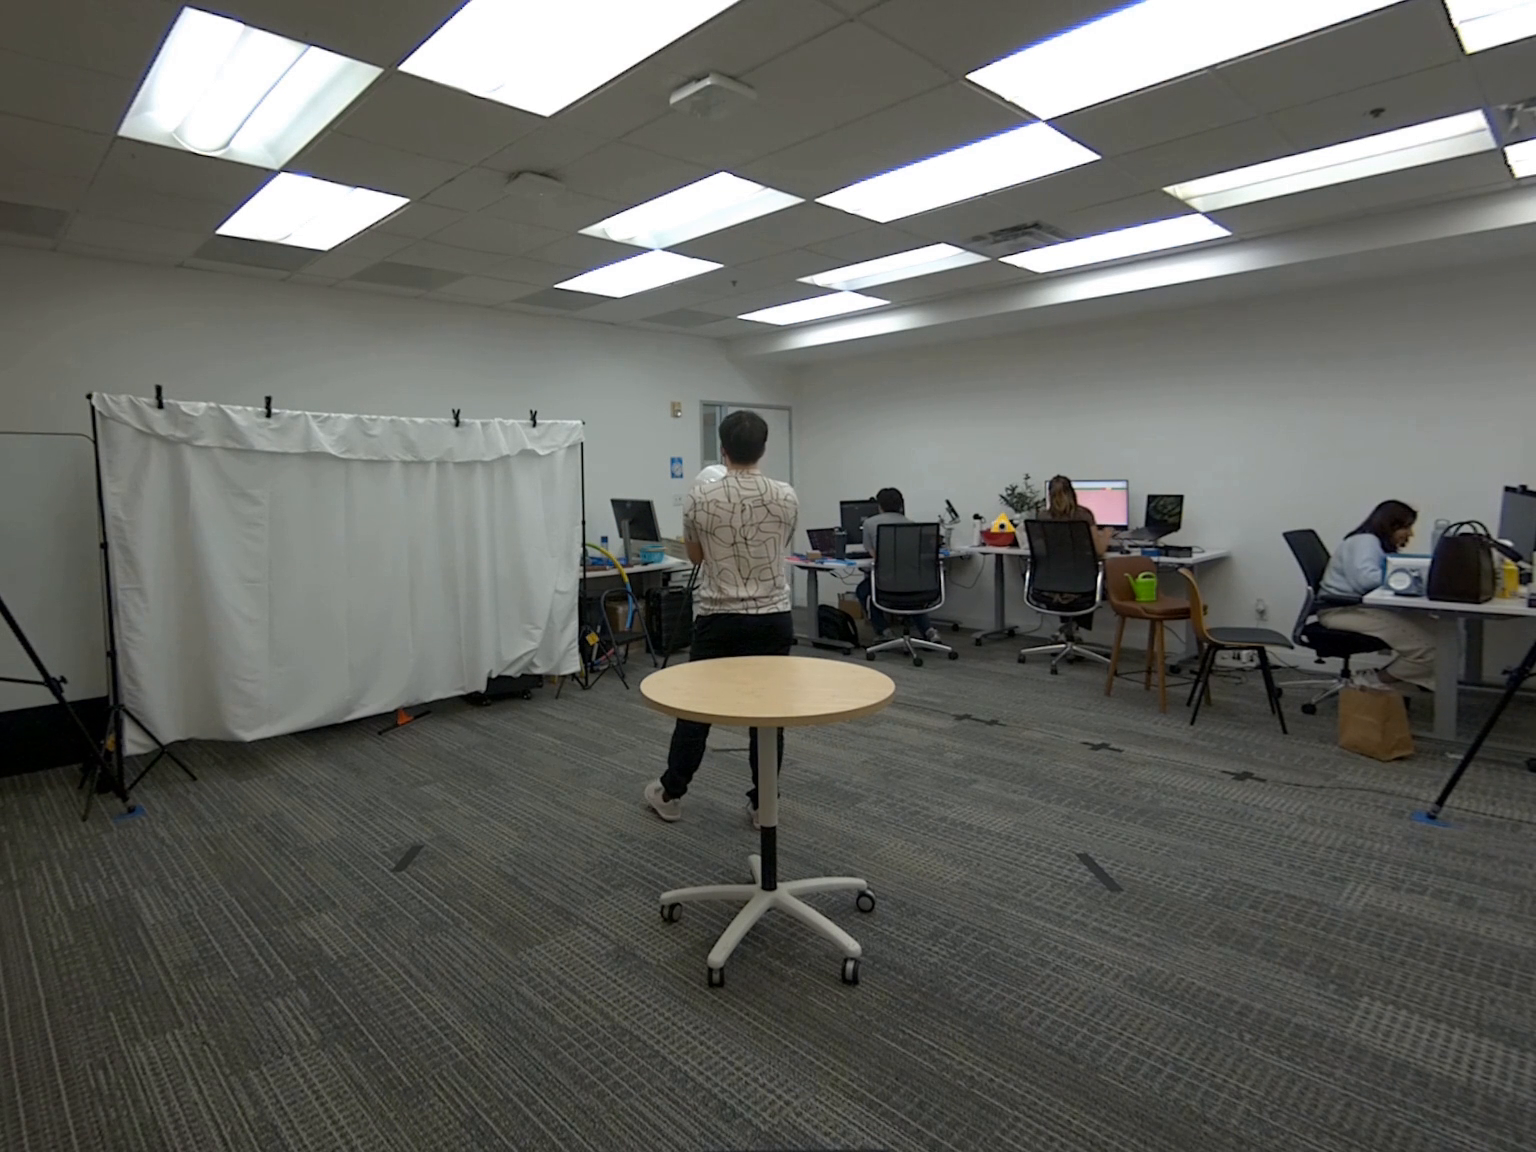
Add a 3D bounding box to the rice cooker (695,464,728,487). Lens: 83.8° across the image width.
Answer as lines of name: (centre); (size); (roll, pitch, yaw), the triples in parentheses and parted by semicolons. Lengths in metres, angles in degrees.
rice cooker: (-0.220, -0.376, 3.807); (0.241, 0.220, 0.210); (35, -3, 30)
